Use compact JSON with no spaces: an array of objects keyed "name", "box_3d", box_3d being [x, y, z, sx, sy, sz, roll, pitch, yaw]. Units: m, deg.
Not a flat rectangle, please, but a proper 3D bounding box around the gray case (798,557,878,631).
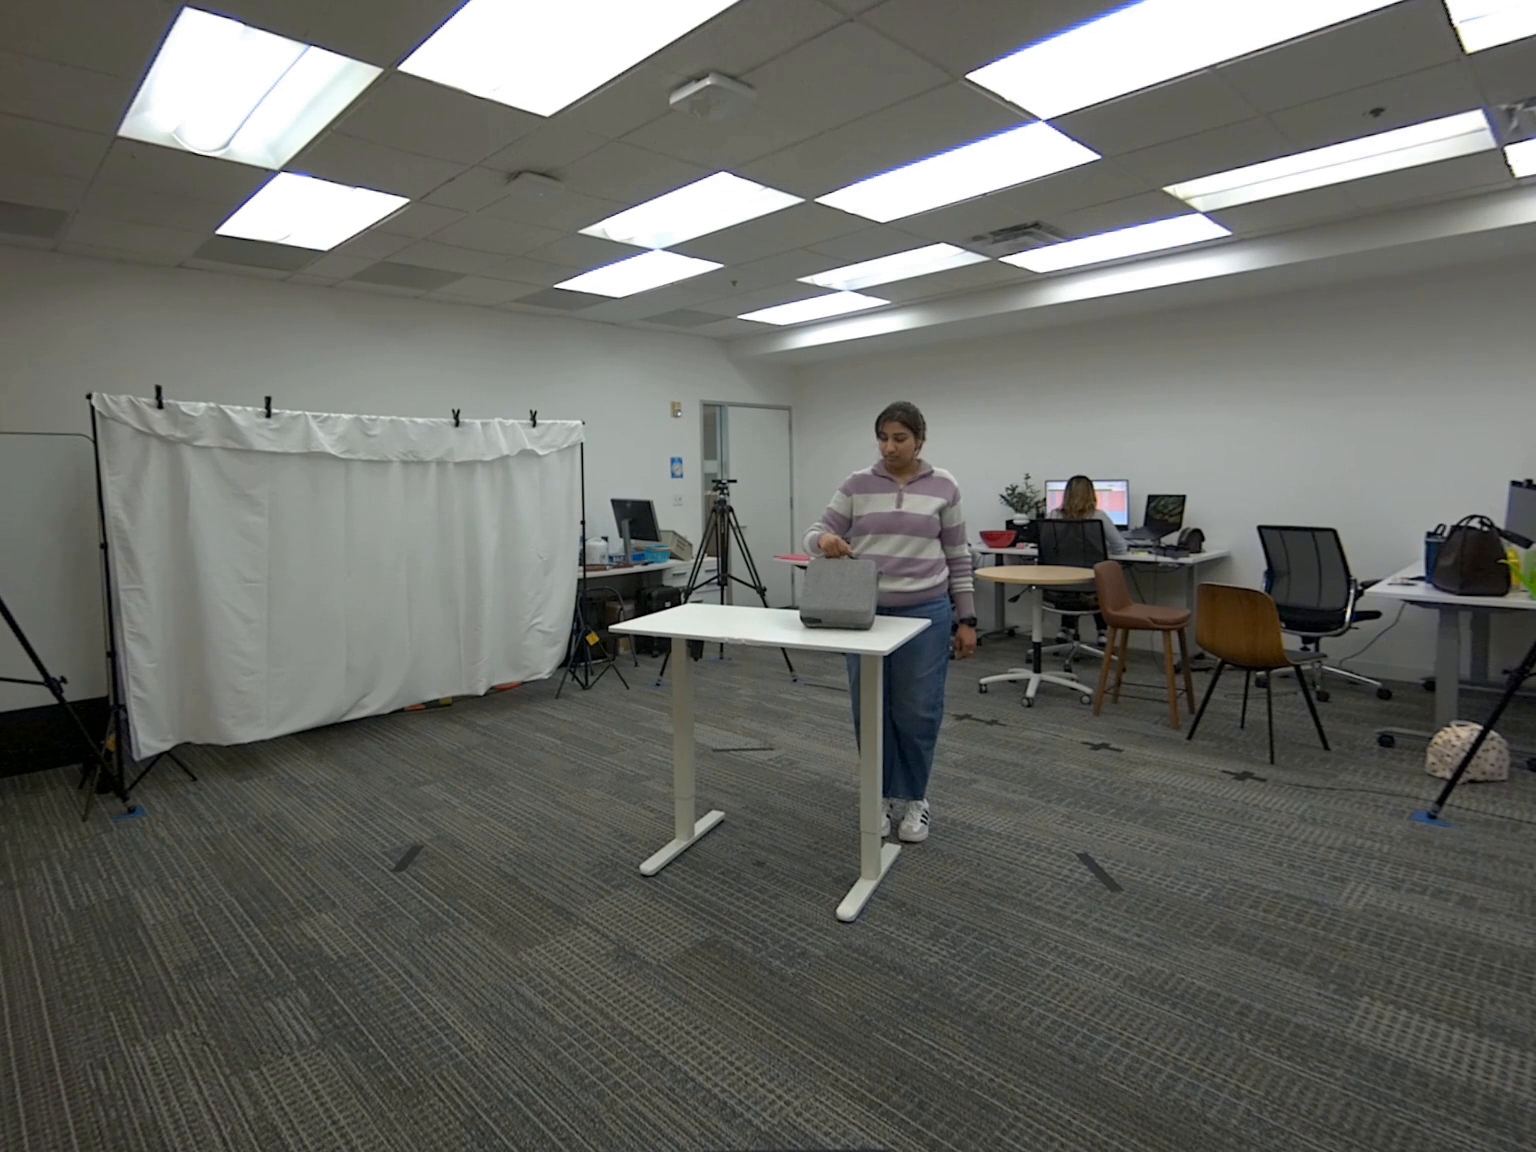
[{"name":"gray case","box_3d":[0.252,0.058,2.976,0.261,0.266,0.101,-1,-40,15]}]
